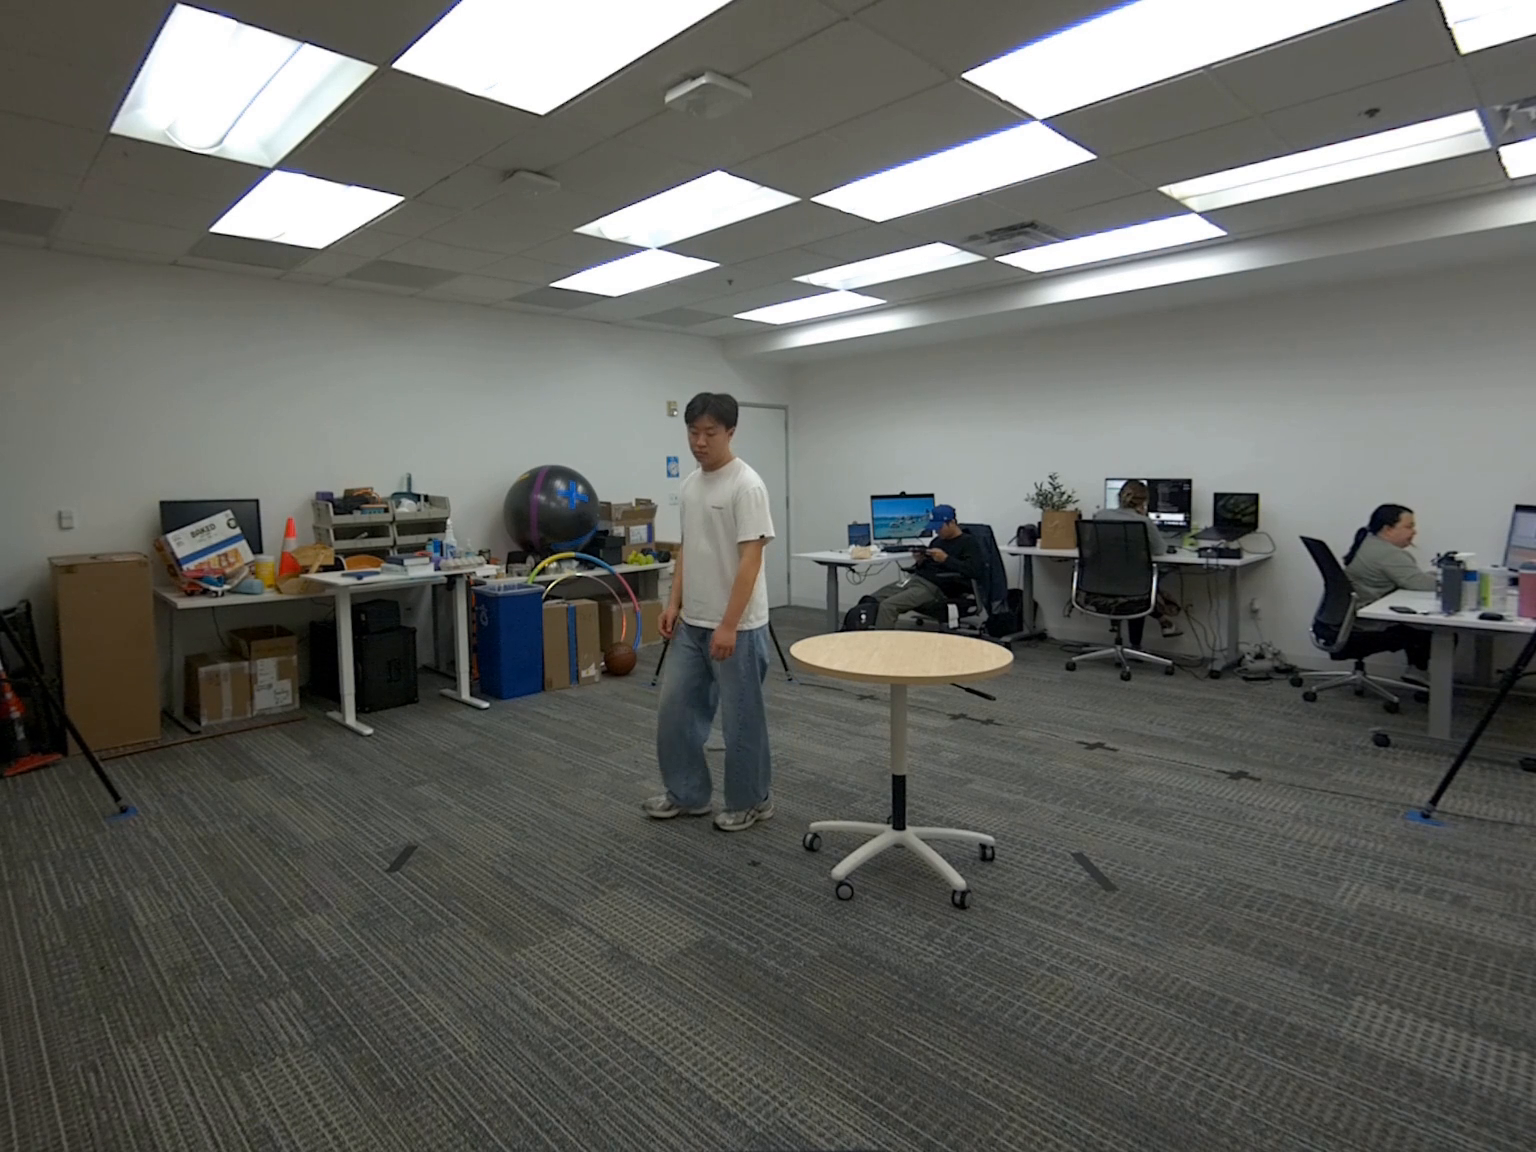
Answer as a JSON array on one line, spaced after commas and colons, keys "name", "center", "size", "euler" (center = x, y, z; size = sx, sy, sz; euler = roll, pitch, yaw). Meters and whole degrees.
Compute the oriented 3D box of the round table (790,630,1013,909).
[{"name": "round table", "center": [0.470, 0.653, 3.020], "size": [0.784, 0.783, 0.789], "euler": [-1, 5, -2]}]
